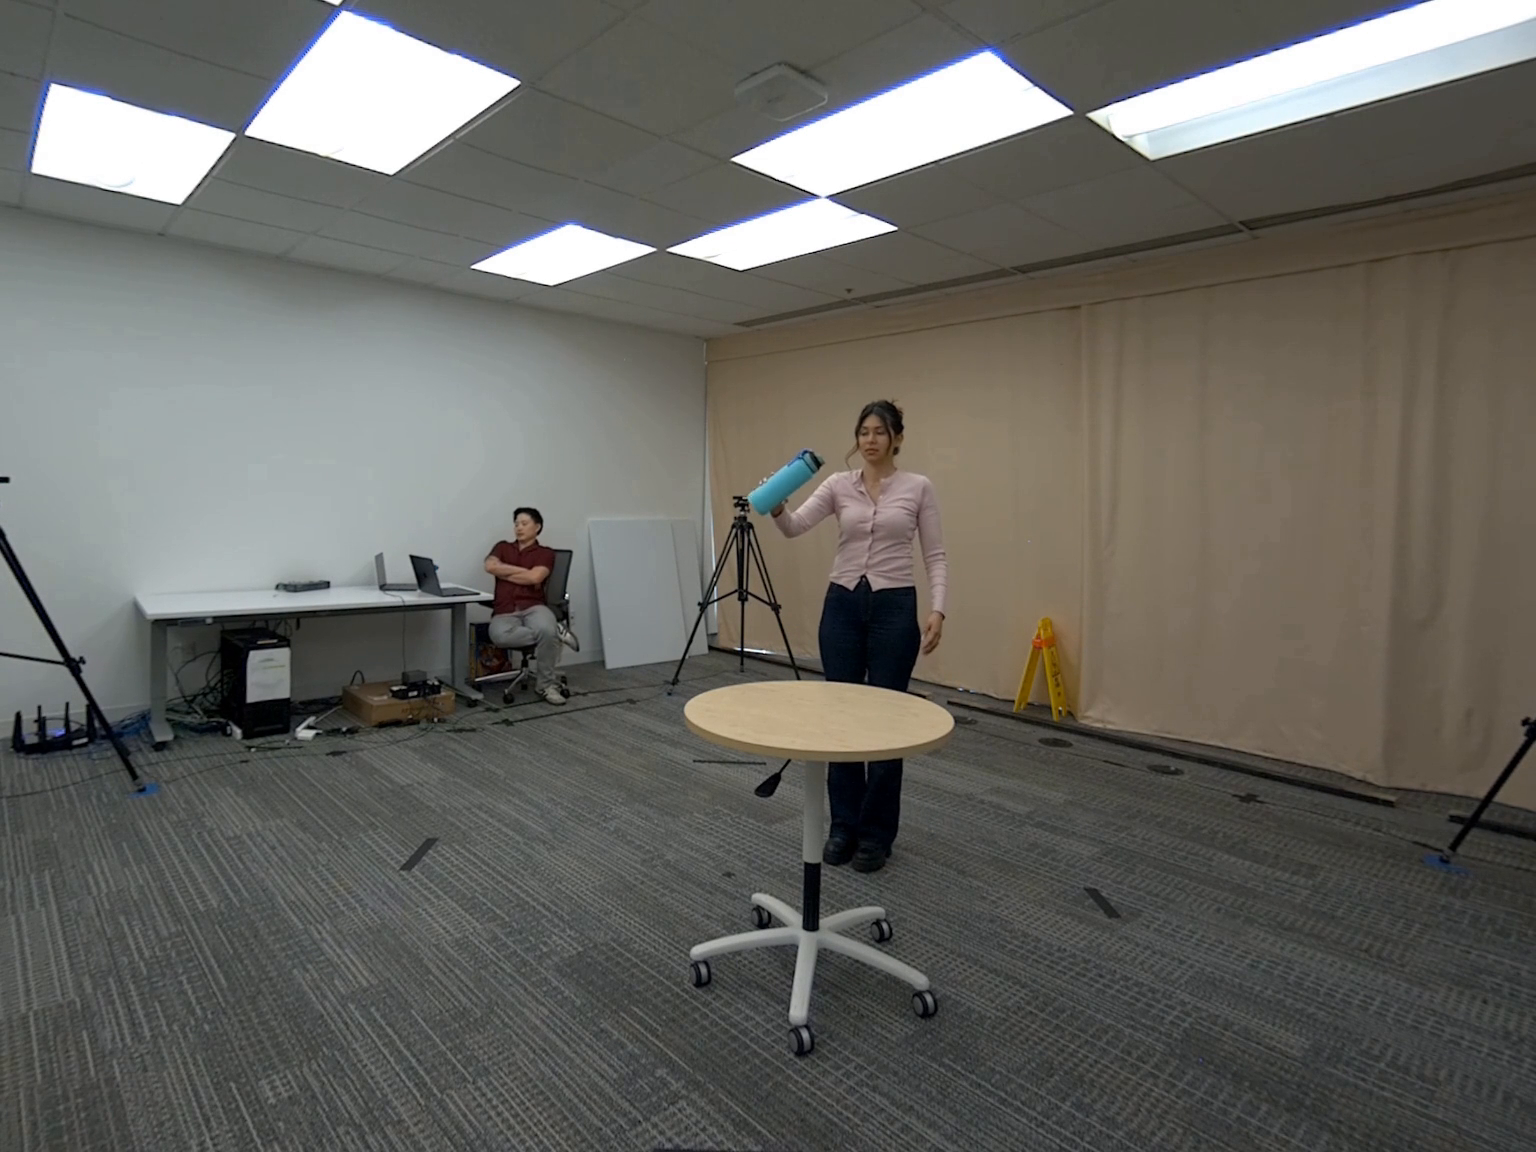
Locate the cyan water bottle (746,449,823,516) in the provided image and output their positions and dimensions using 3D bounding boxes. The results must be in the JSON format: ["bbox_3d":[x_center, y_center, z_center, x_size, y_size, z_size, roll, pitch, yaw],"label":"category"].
[{"bbox_3d":[0.060,-0.321,2.859,0.284,0.093,0.092,-39,-4,11],"label":"cyan water bottle"}]
